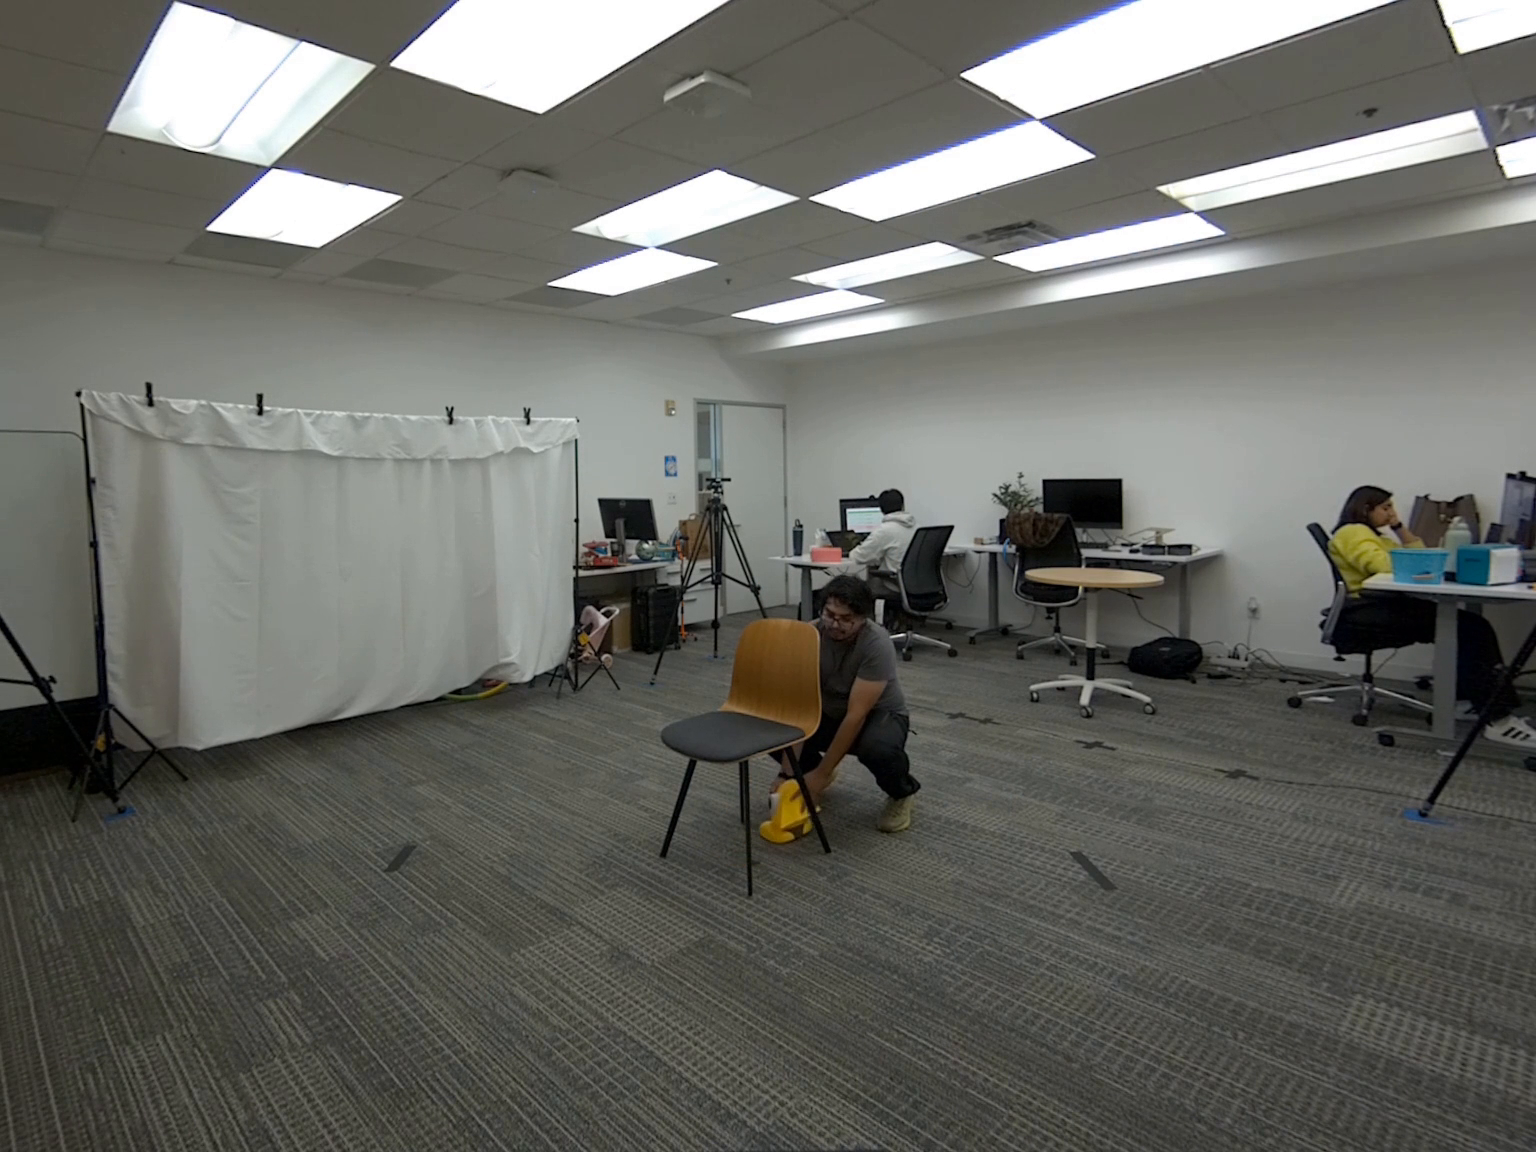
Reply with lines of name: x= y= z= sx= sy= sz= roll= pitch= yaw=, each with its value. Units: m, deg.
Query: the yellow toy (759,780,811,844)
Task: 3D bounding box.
yellow toy: x=0.067 y=0.892 z=3.327 sx=0.200 sy=0.229 sz=0.199 roll=-9 pitch=11 yaw=-35
